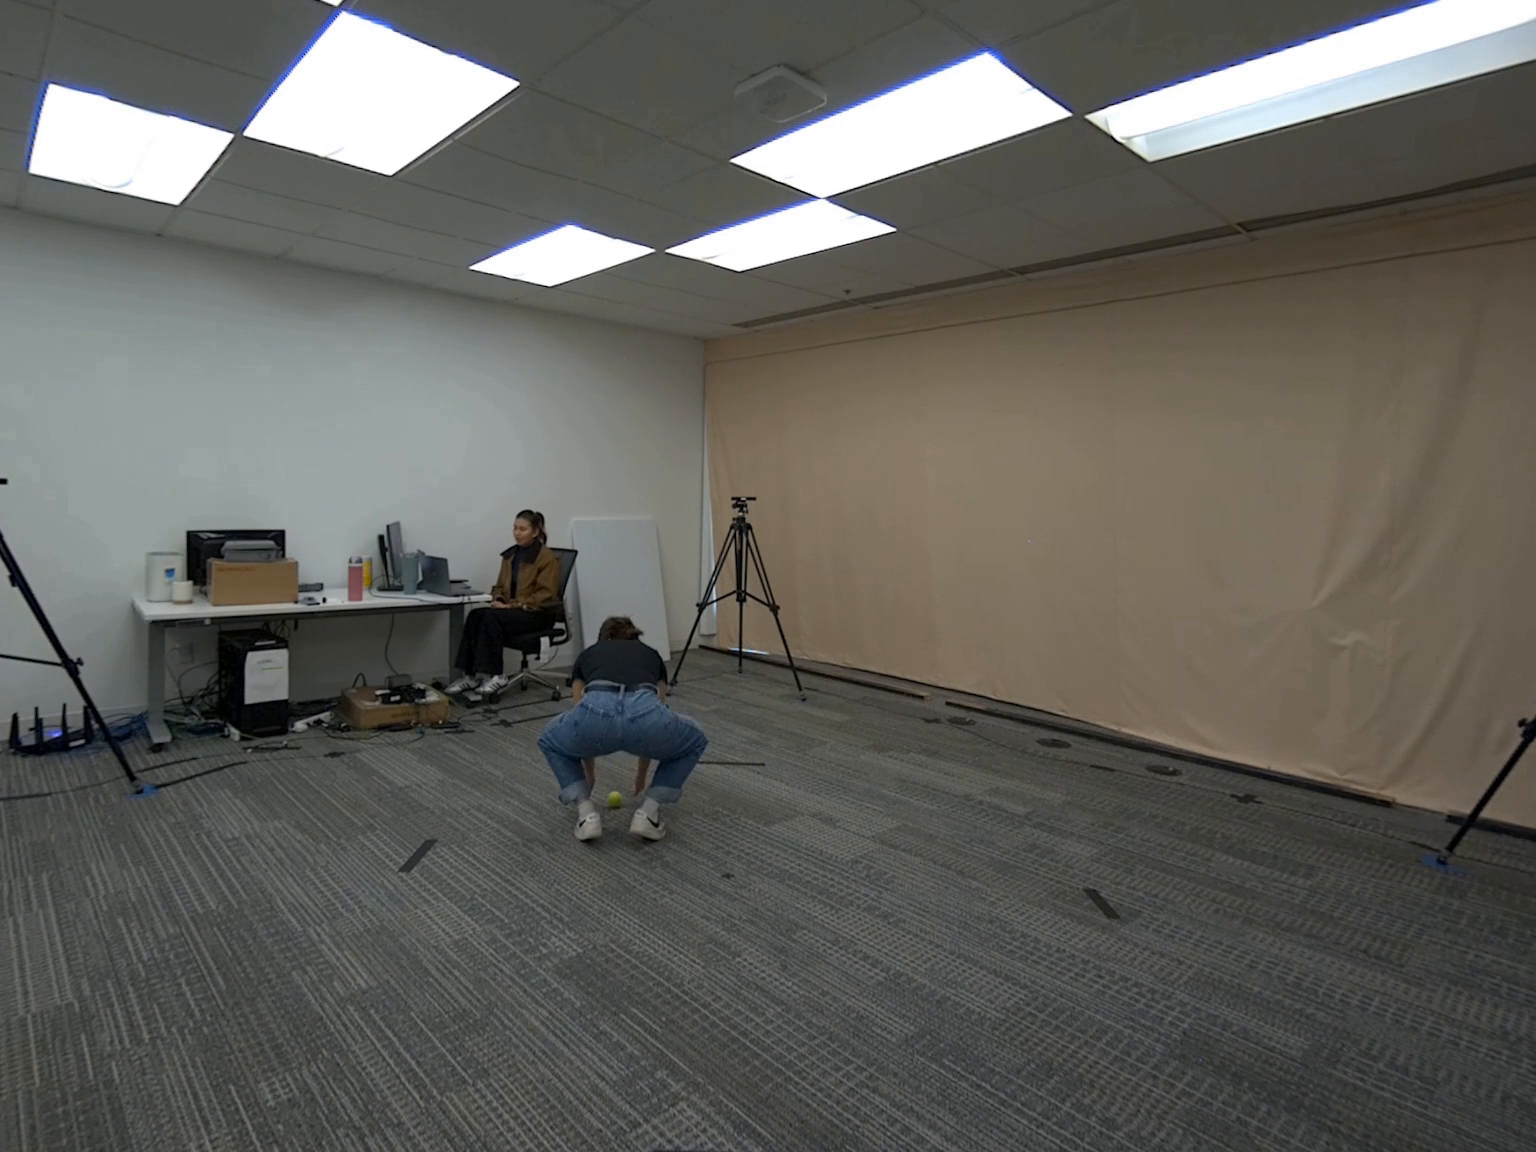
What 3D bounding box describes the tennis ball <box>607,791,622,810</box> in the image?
[{"bbox_3d":[-0.696,0.990,3.770,0.066,0.066,0.067,1,4,-1],"label":"tennis ball"}]
